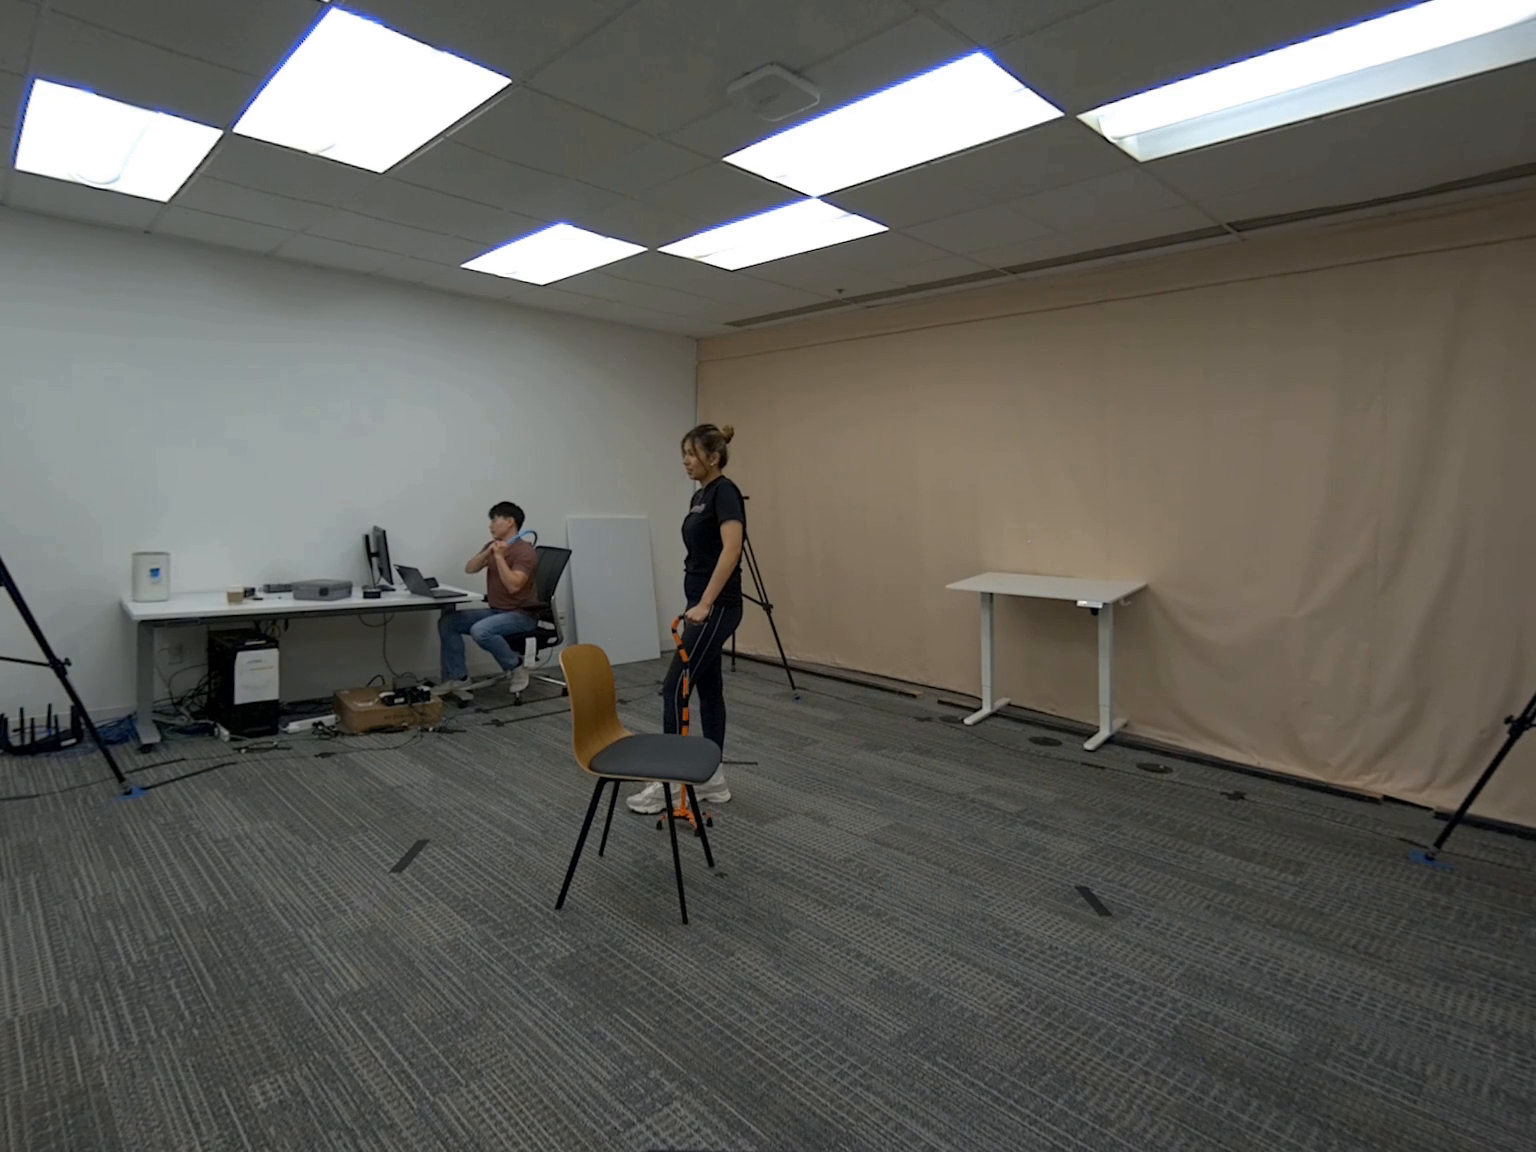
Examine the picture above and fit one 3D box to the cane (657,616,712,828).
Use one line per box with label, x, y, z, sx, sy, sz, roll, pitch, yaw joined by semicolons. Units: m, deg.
cane;-0.357;0.615;3.526;0.209;0.906;0.150;3;3;13
